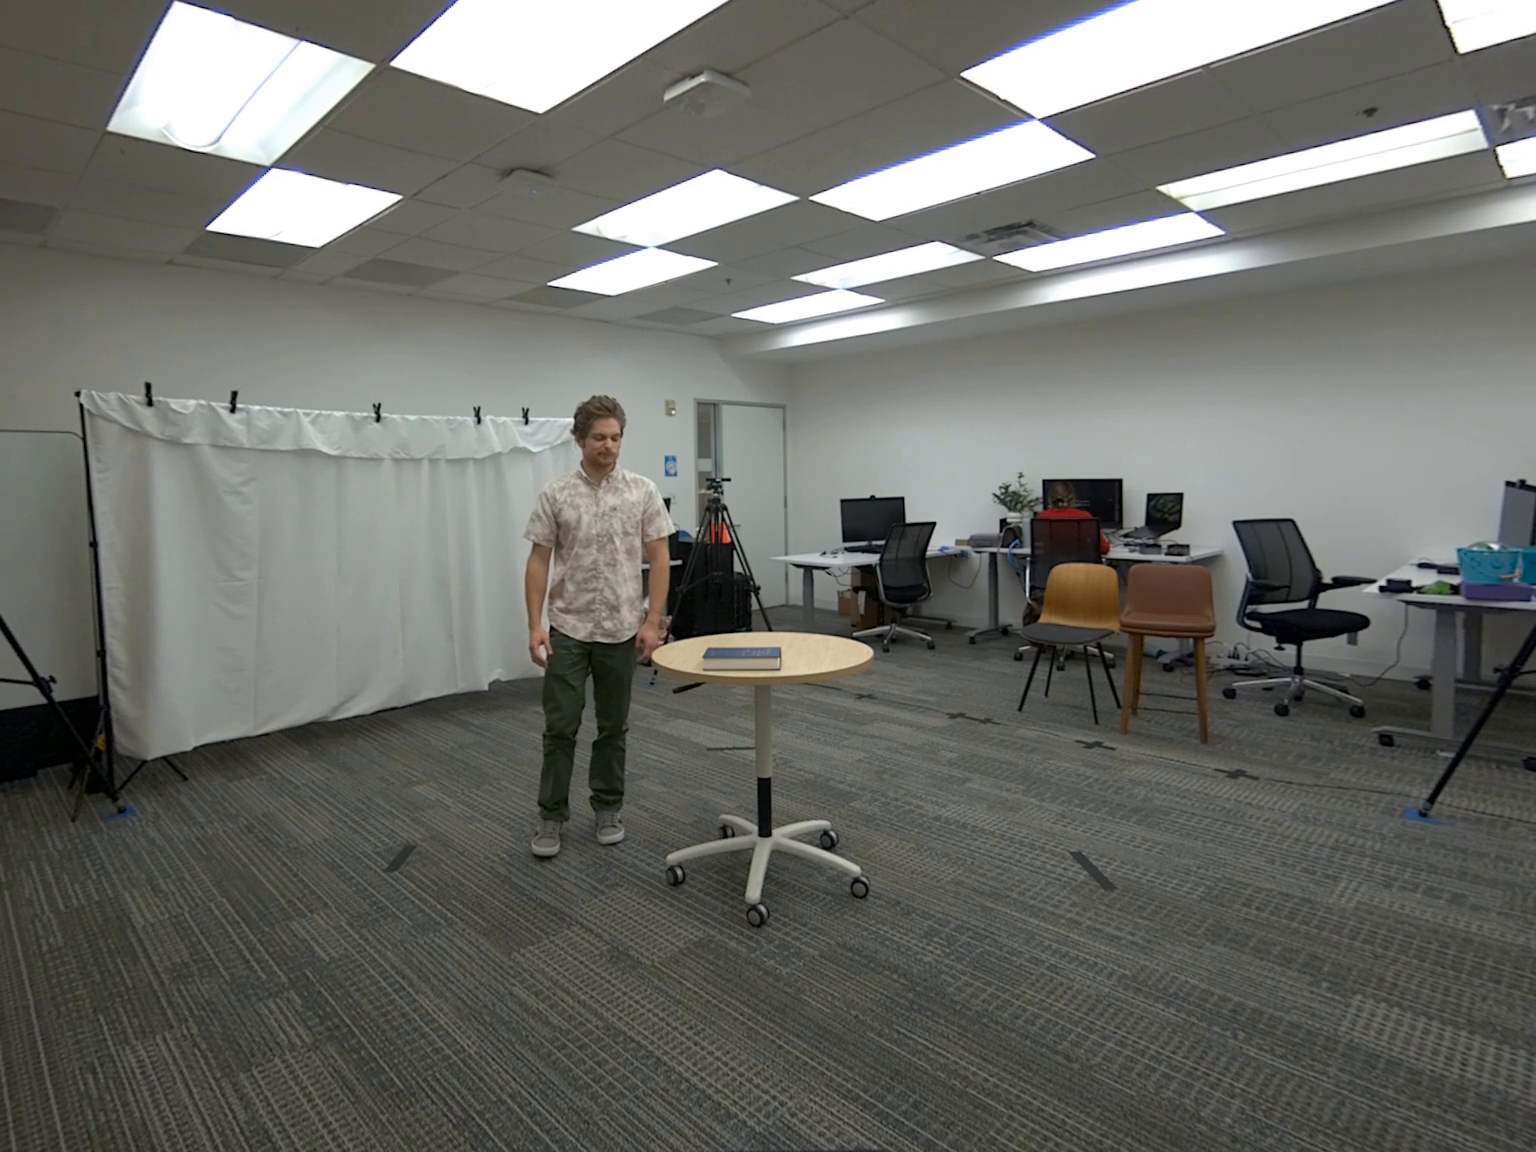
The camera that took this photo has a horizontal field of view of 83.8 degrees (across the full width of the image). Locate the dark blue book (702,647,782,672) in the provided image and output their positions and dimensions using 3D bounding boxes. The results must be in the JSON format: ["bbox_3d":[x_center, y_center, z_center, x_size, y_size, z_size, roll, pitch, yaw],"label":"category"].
[{"bbox_3d":[-0.084,0.265,2.751,0.246,0.045,0.163,-1,6,5],"label":"dark blue book"}]
